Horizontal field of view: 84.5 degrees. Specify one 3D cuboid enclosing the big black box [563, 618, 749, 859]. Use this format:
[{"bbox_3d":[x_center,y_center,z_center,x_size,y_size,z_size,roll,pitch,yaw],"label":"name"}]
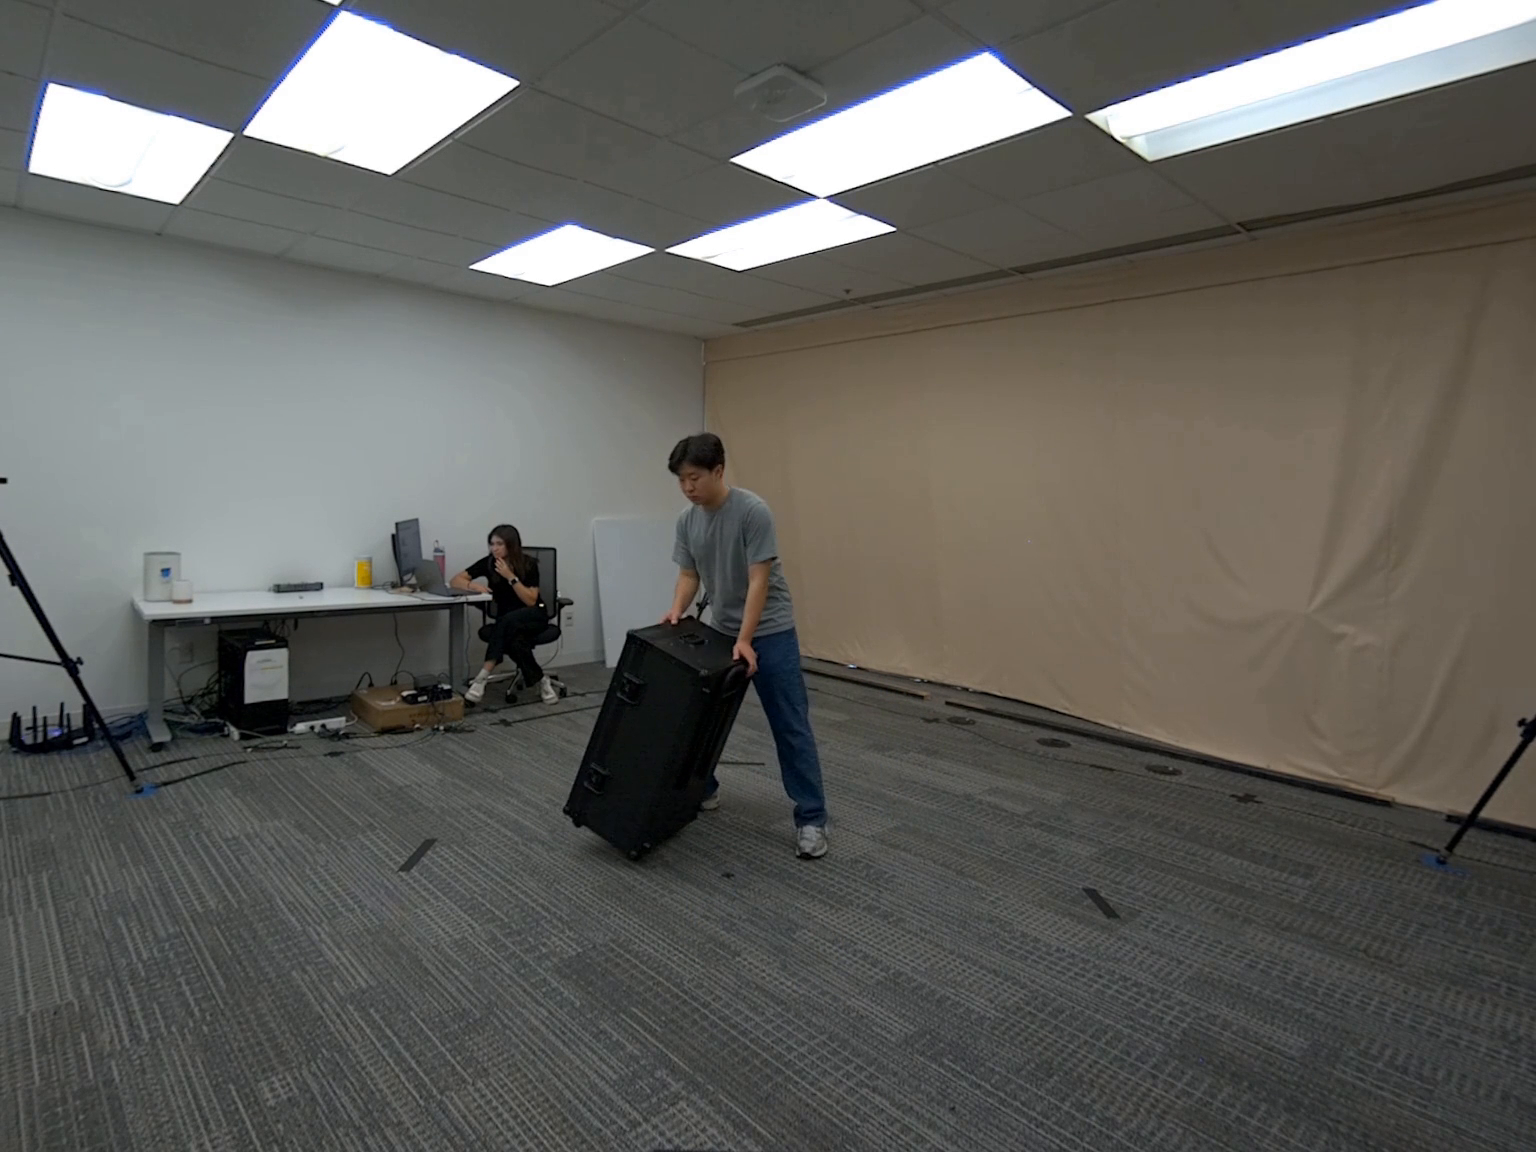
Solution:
[{"bbox_3d":[-0.423,0.648,3.305,0.404,0.857,0.513,25,13,20],"label":"big black box"}]
